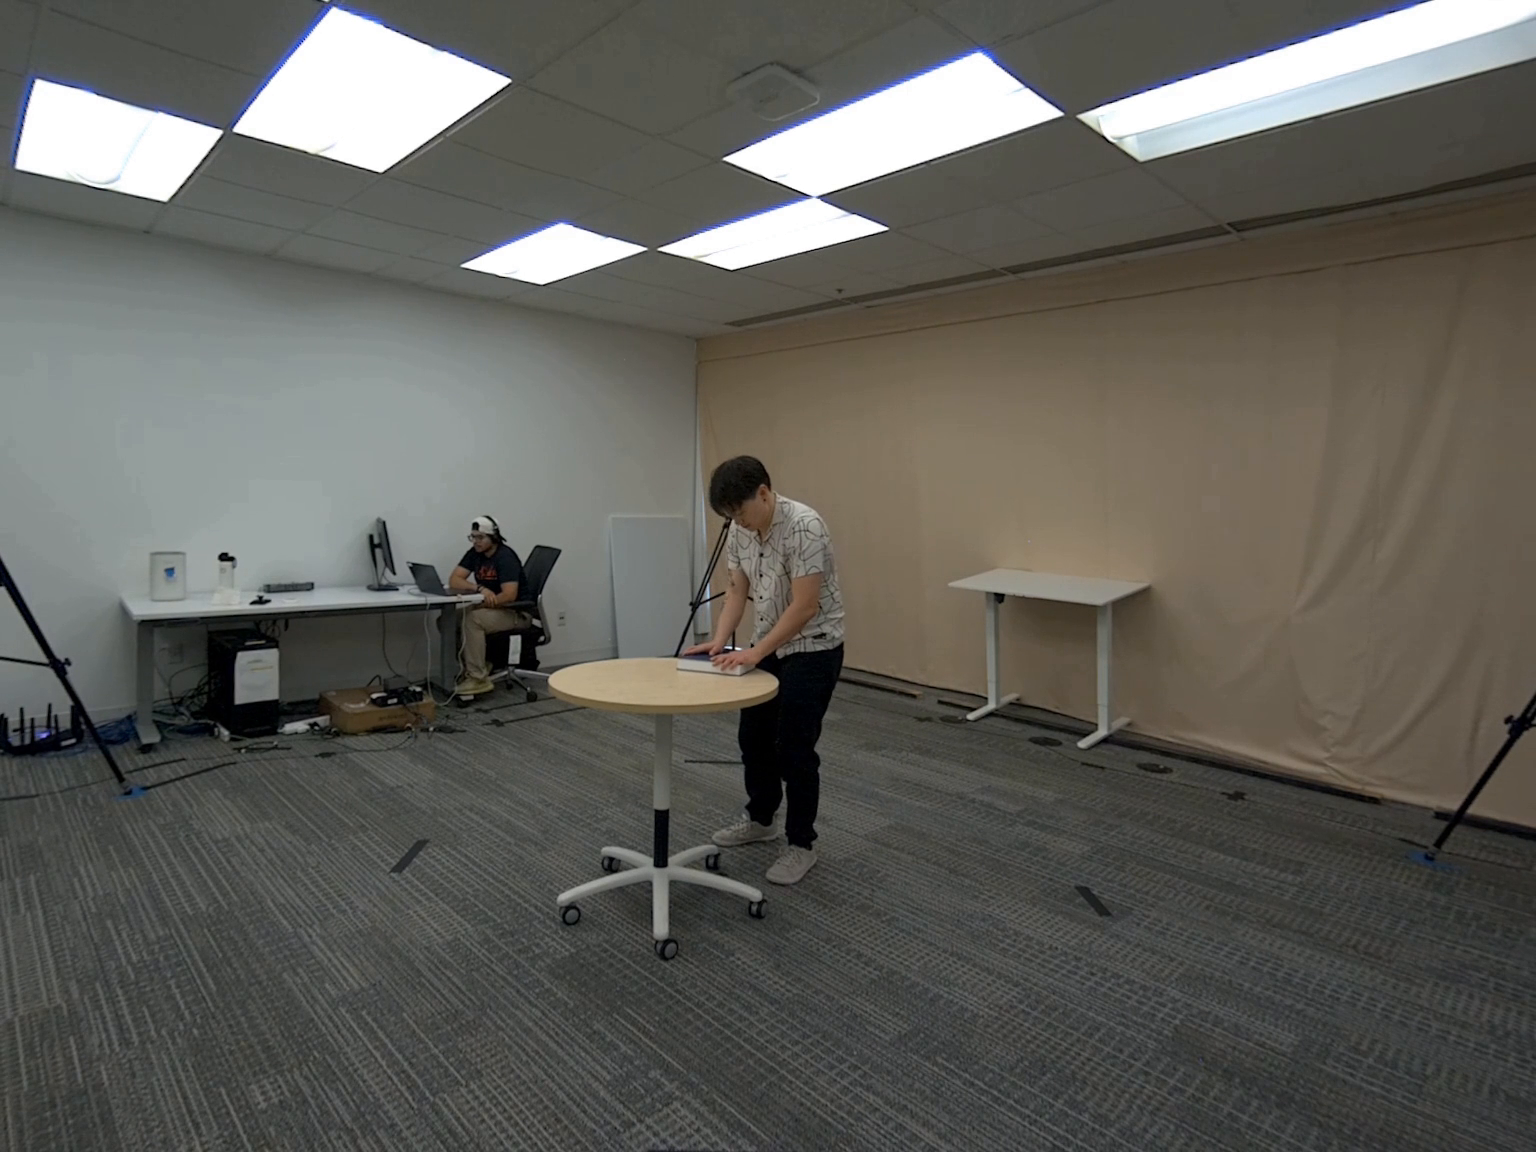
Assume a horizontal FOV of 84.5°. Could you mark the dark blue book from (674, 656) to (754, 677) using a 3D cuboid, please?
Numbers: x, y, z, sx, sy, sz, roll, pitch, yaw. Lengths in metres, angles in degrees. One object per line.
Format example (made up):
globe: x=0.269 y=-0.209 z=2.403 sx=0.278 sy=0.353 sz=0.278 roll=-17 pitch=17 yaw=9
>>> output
dark blue book: x=-0.188 y=0.319 z=3.002 sx=0.249 sy=0.045 sz=0.161 roll=4 pitch=5 yaw=18
